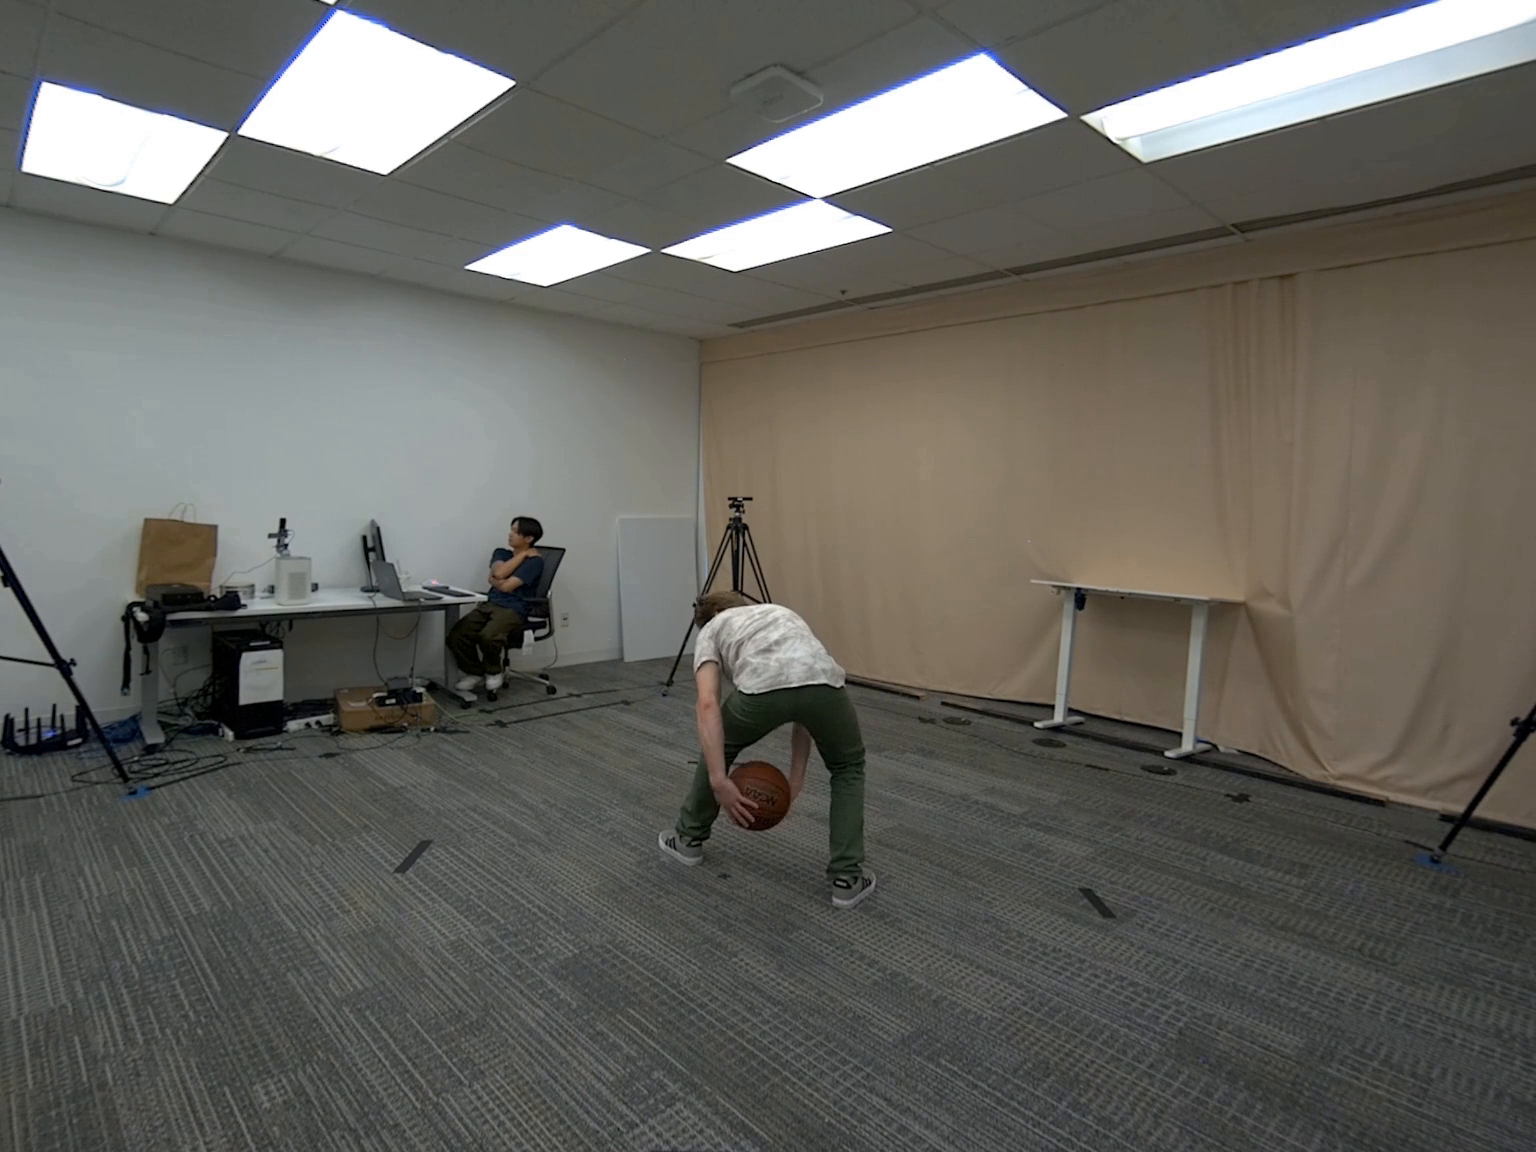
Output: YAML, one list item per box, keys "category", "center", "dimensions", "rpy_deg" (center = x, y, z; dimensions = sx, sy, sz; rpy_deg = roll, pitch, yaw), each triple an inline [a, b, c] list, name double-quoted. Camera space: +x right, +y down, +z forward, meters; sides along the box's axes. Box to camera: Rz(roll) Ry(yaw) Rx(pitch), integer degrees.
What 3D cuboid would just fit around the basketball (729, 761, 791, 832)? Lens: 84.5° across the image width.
- category: "basketball"
  center: [-0.048, 0.763, 2.984]
  dimensions: [0.236, 0.235, 0.237]
  rpy_deg: [1, 4, -1]
